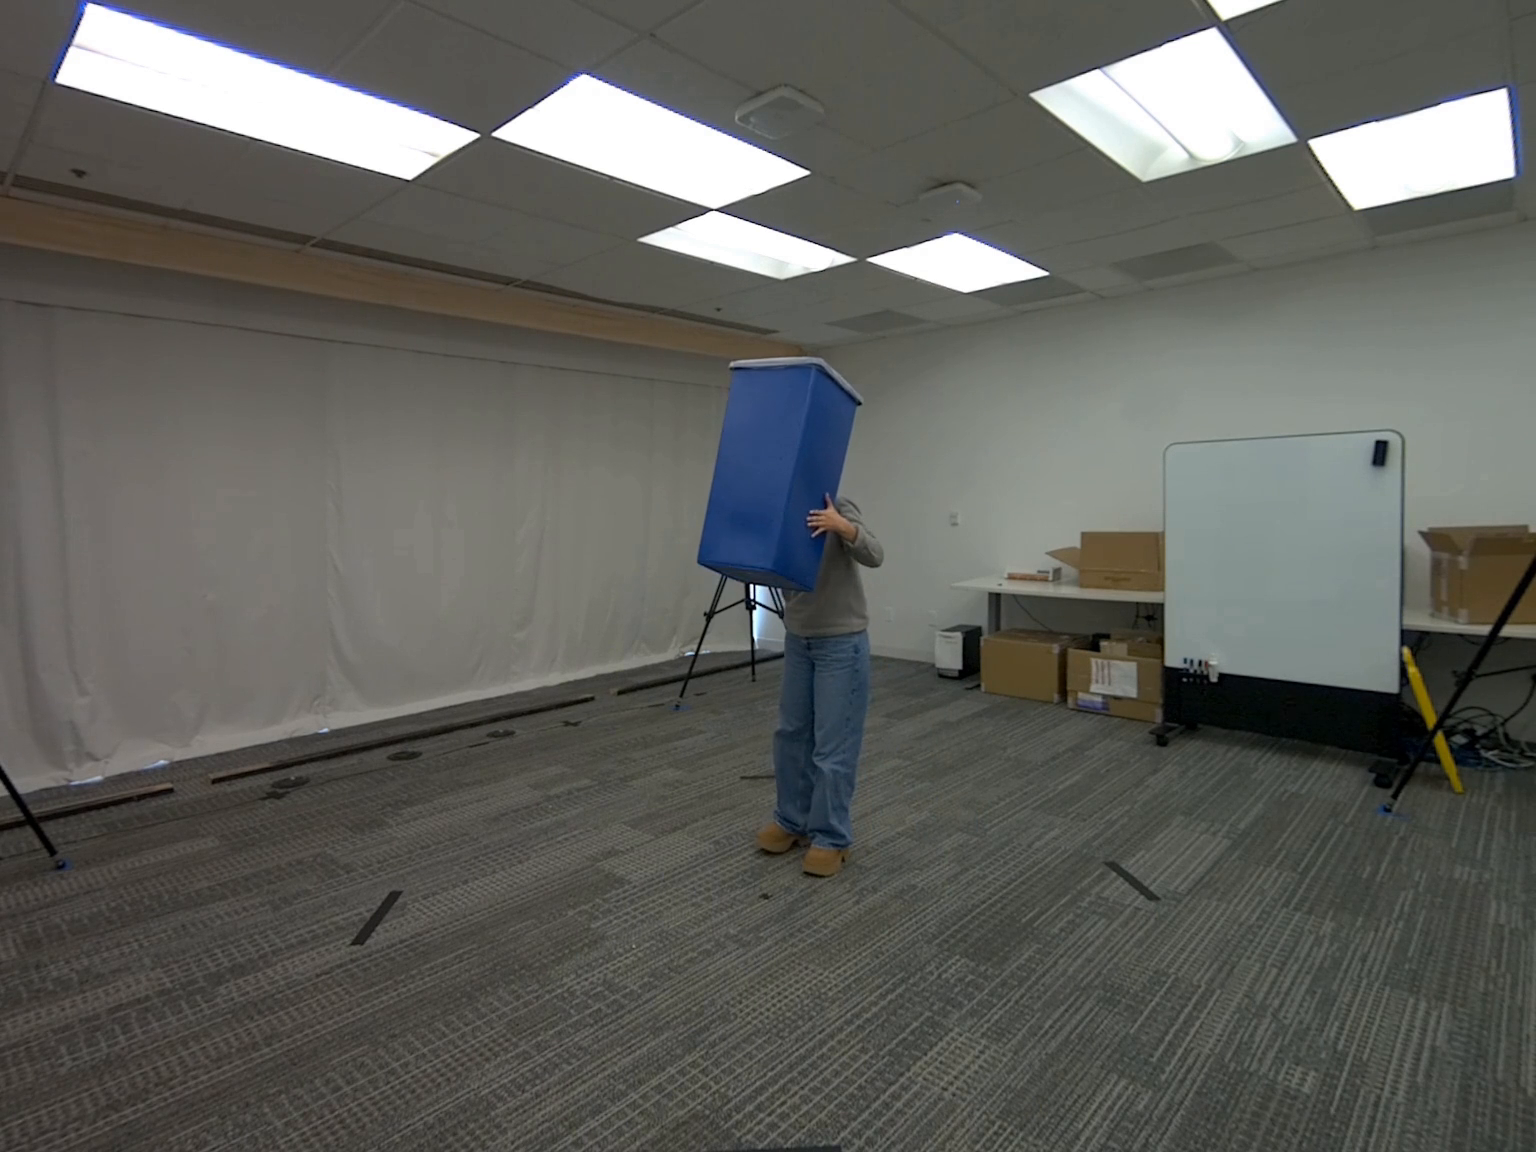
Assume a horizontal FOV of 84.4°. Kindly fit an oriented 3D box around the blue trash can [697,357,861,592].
[{"bbox_3d":[0.038,-0.328,2.888,0.390,0.716,0.361,5,-11,34],"label":"blue trash can"}]
